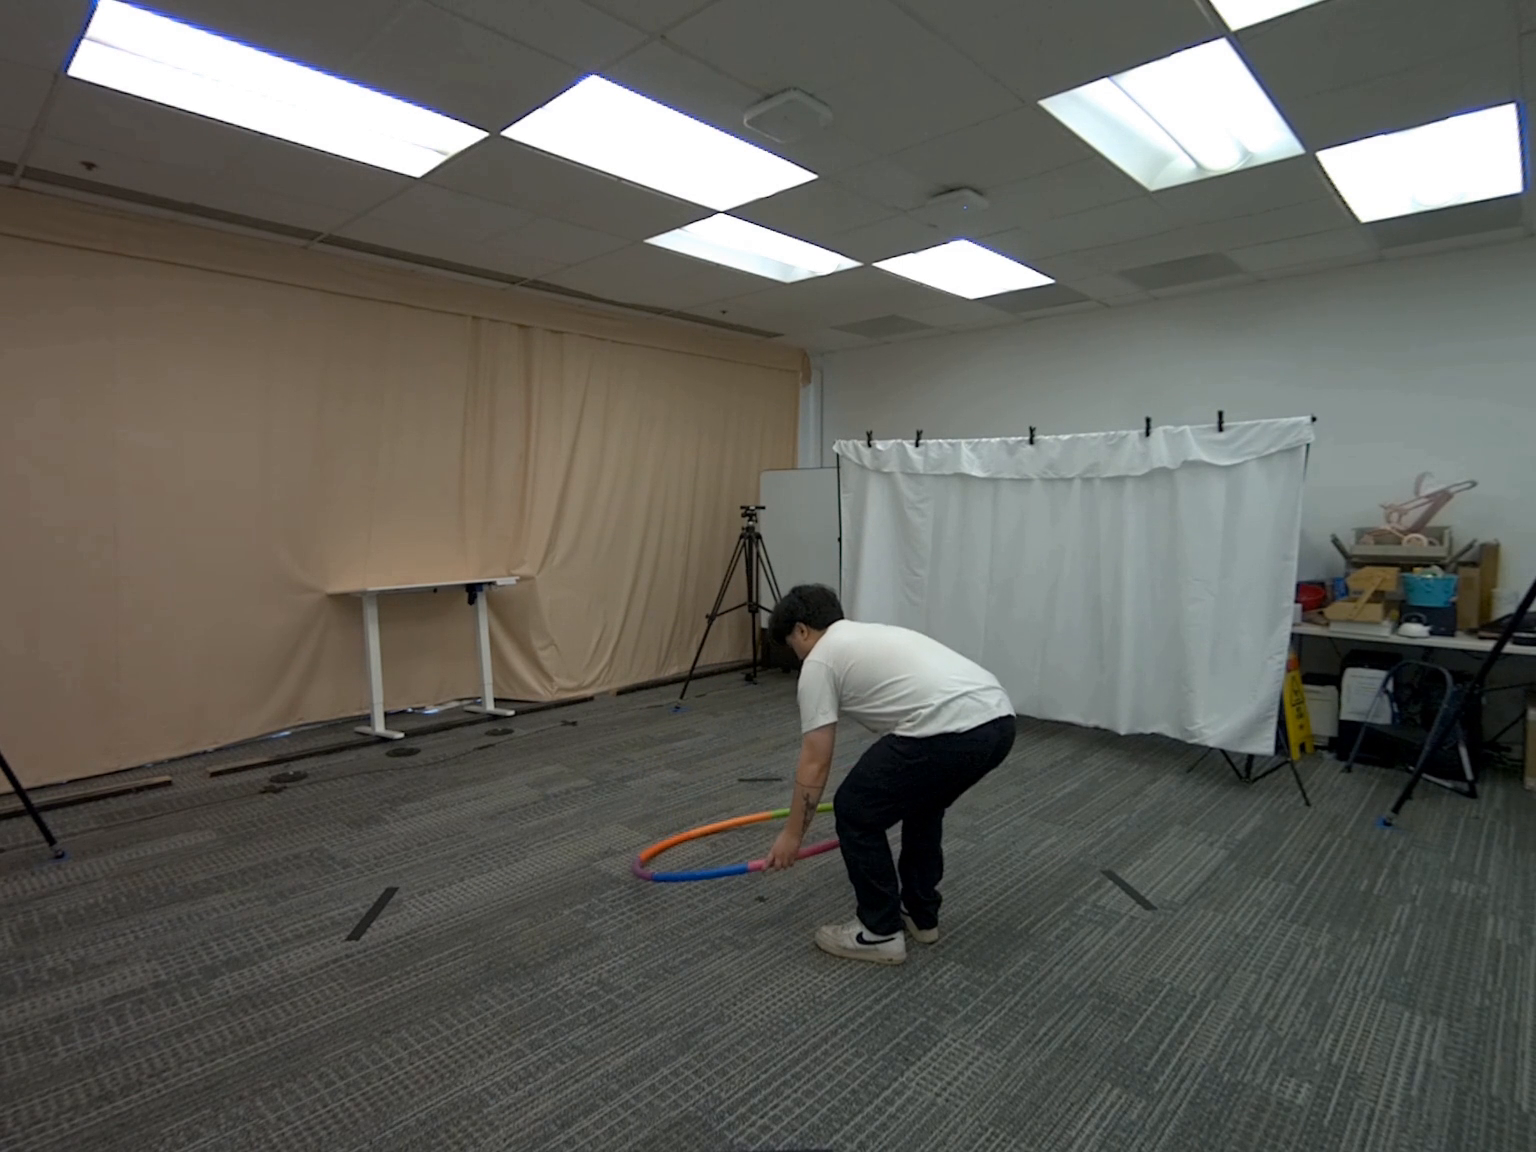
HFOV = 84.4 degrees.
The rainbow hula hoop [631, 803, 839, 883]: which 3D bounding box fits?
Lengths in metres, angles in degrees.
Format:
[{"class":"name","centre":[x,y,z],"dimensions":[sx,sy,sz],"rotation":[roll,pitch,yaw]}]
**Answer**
[{"class":"rainbow hula hoop","centre":[-0.023,0.972,3.164],"dimensions":[0.983,0.052,0.981],"rotation":[-11,-7,-3]}]
